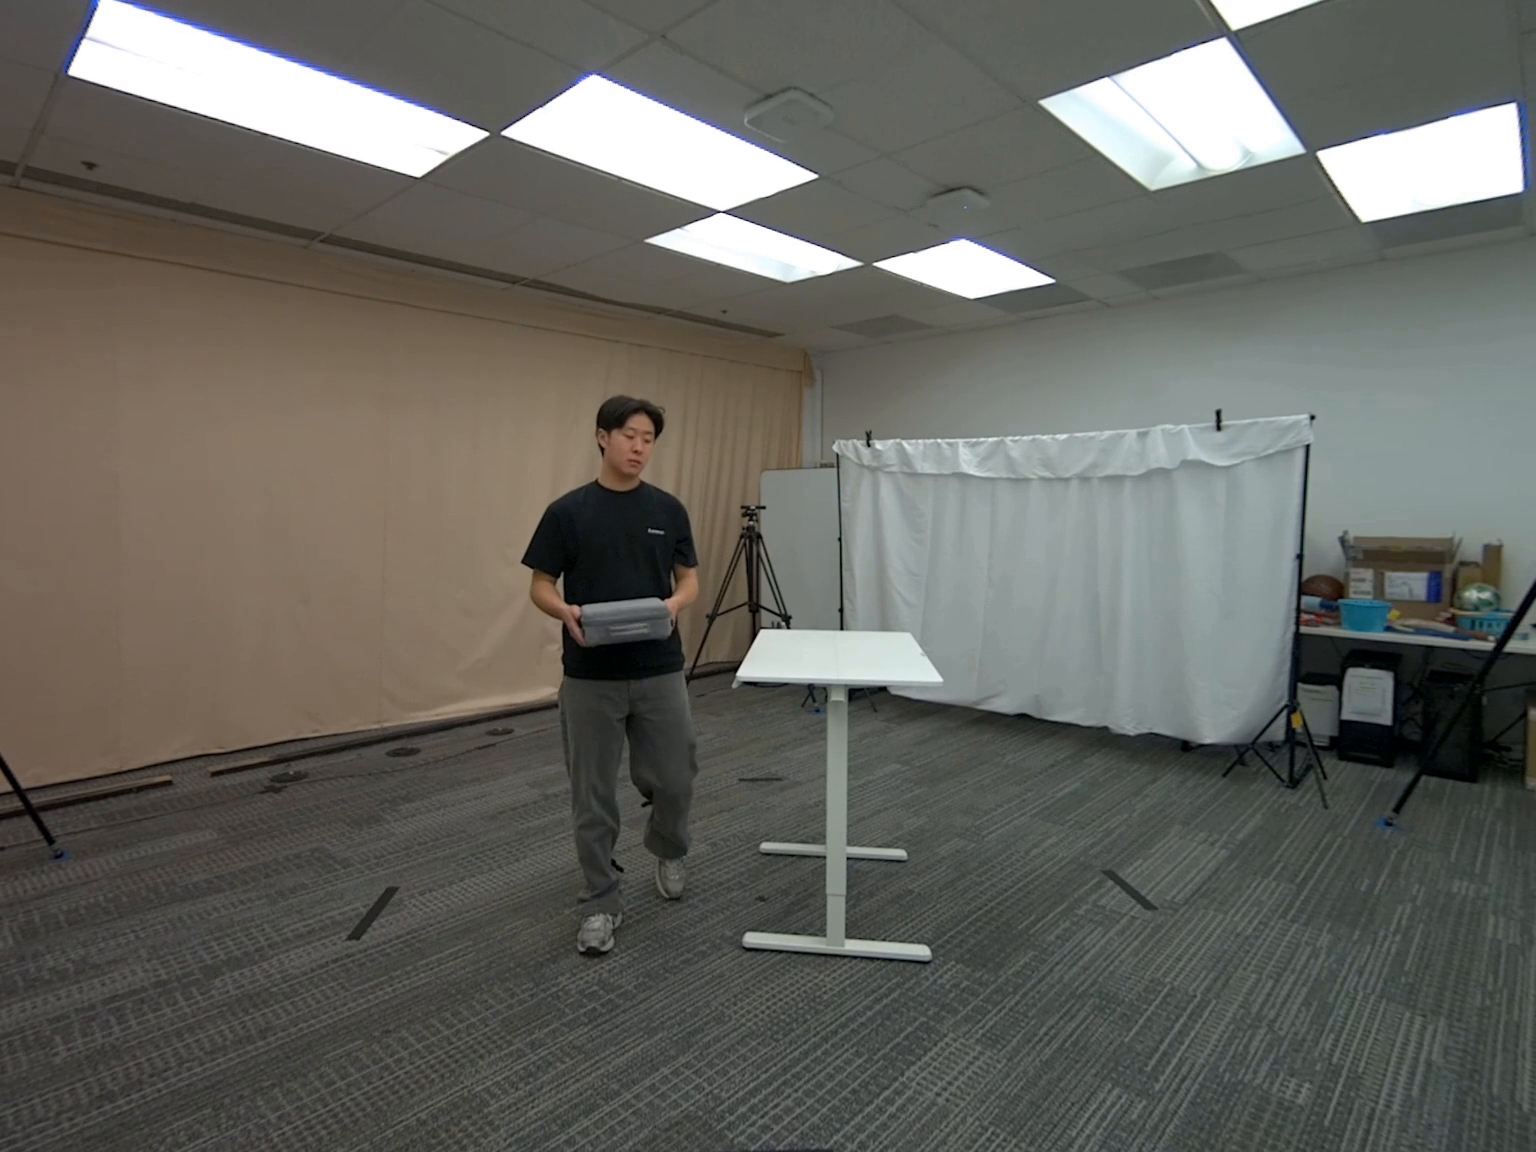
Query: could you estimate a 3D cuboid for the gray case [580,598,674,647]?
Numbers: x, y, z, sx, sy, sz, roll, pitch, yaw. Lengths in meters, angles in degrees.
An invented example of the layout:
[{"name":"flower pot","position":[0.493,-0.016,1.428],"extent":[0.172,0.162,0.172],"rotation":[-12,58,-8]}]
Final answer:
[{"name":"gray case","position":[-0.429,0.129,2.509],"extent":[0.262,0.103,0.289],"rotation":[-1,5,-6]}]
